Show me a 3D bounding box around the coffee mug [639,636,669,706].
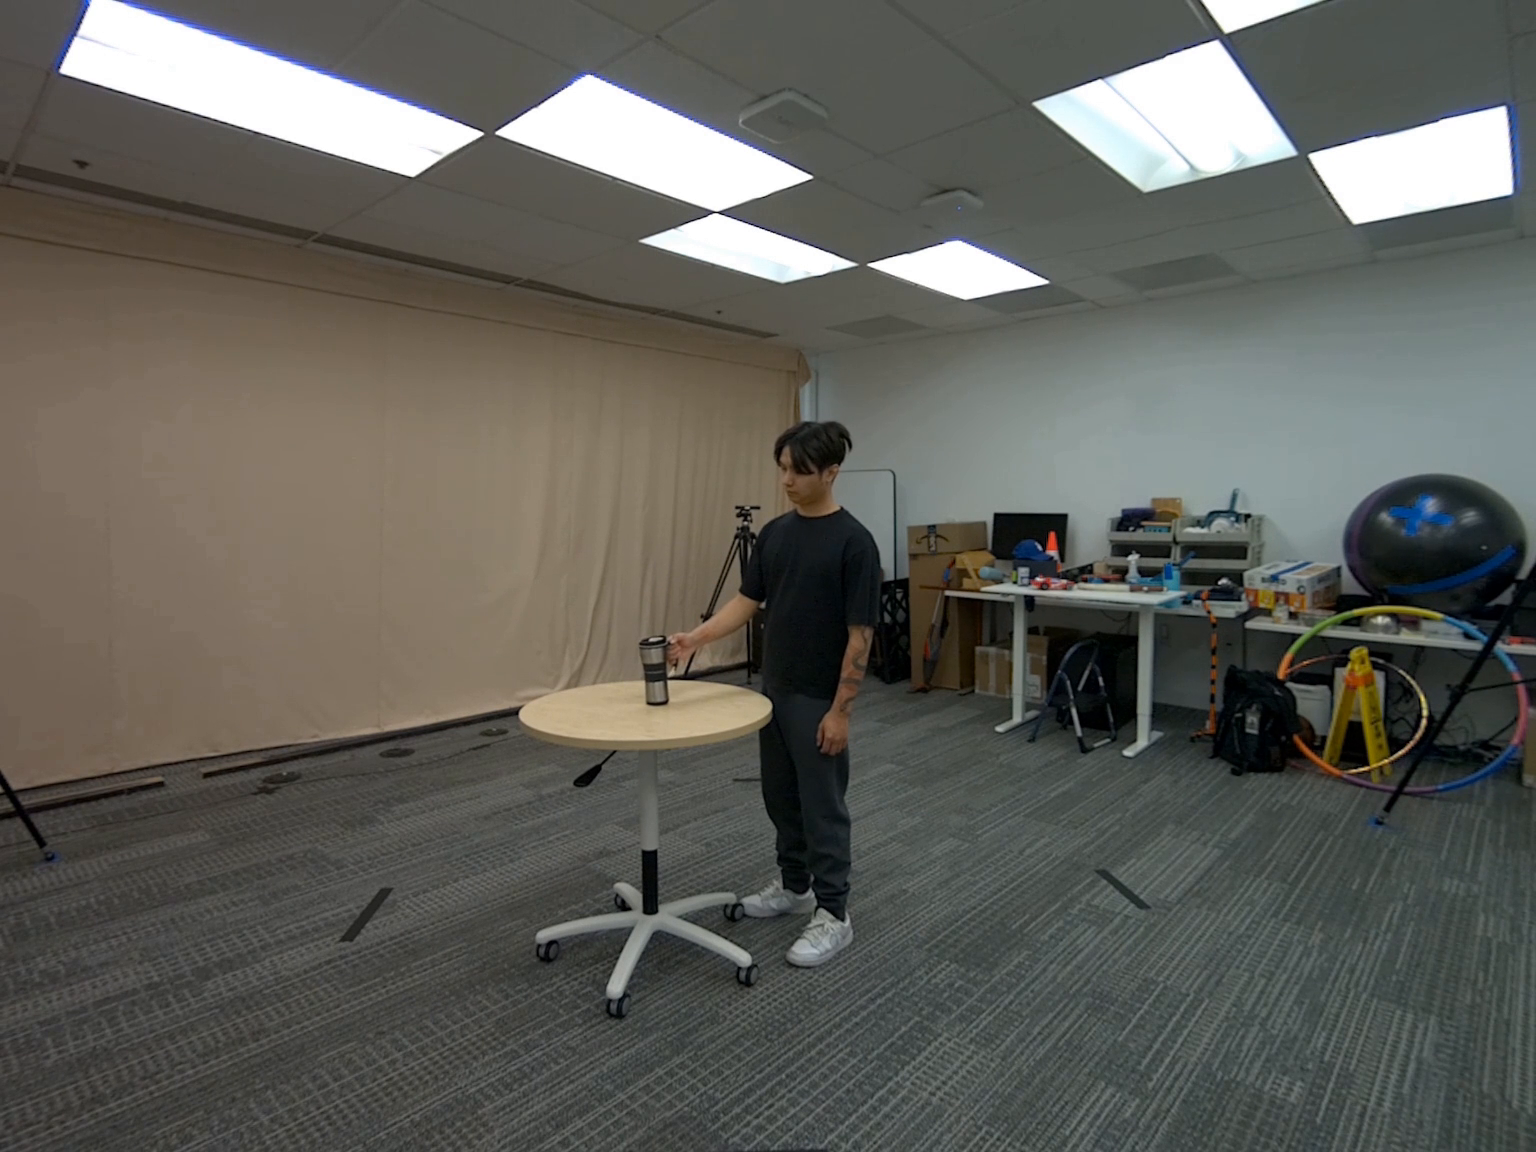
[{"bbox_3d":[-0.328,0.296,2.583,0.125,0.203,0.085,-4,-1,35],"label":"coffee mug"}]
